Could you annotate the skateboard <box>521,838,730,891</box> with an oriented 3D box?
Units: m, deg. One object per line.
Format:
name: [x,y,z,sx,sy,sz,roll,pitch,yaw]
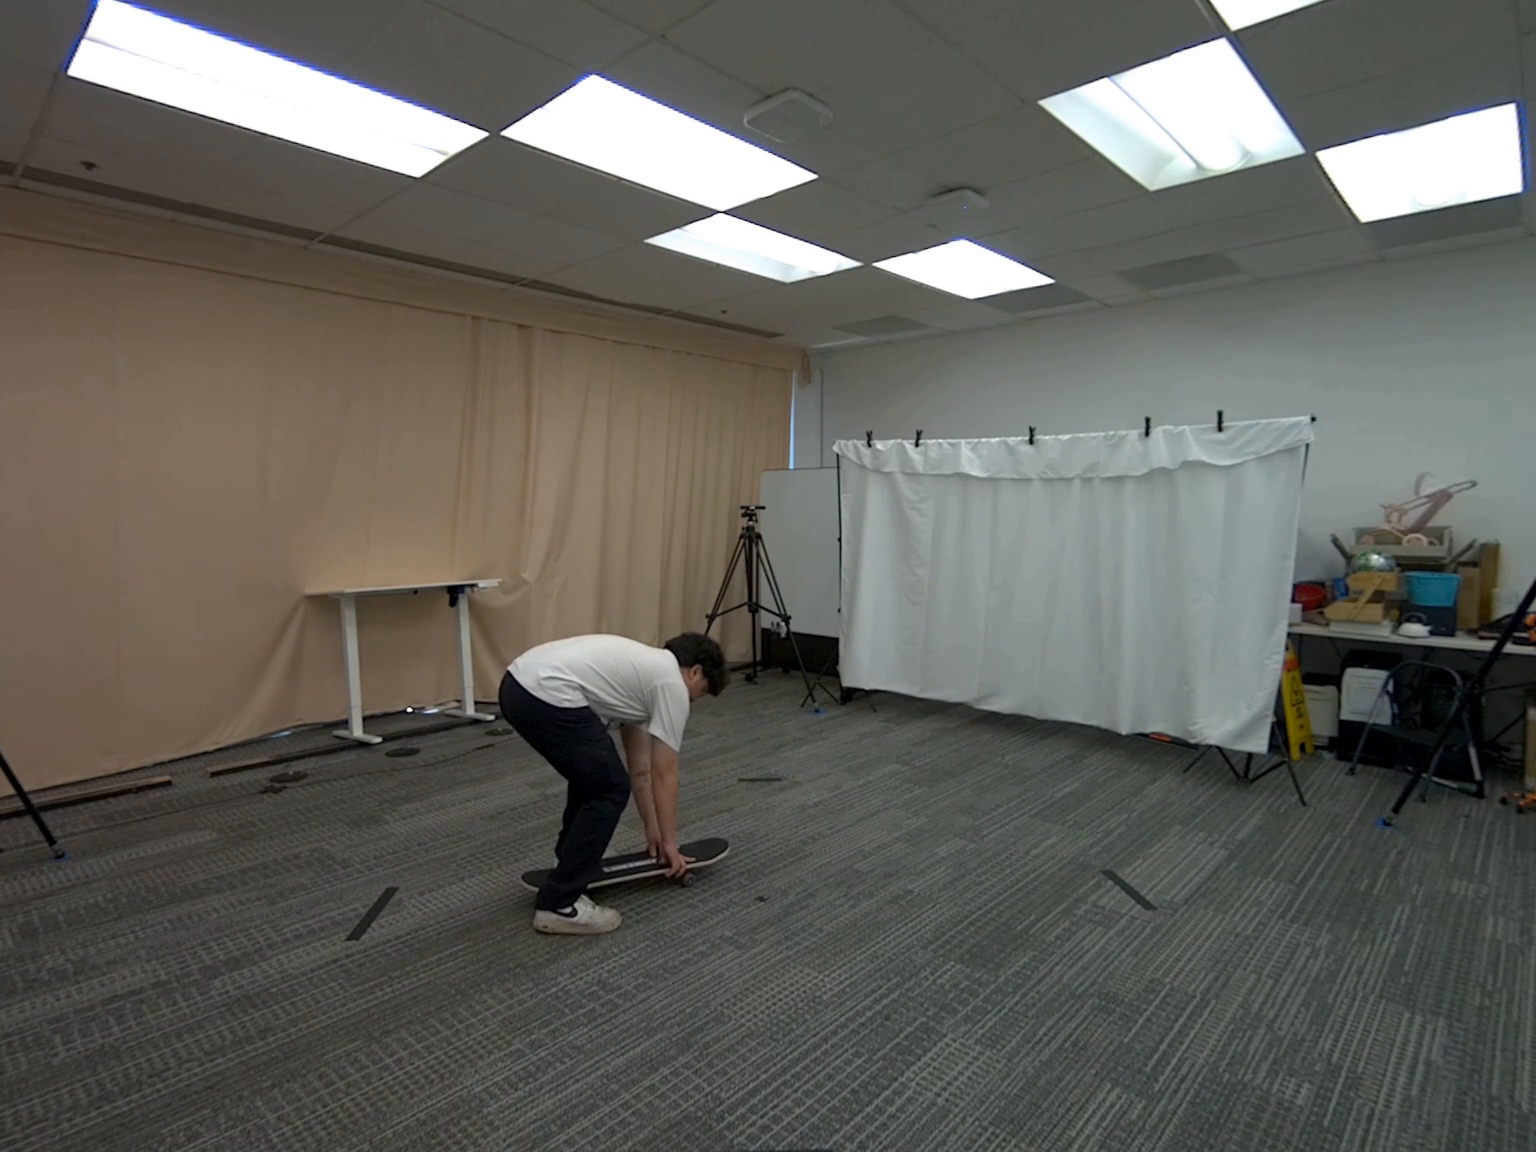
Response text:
skateboard: [-0.498,1.092,3.062,0.767,0.110,0.198,-3,4,-25]
